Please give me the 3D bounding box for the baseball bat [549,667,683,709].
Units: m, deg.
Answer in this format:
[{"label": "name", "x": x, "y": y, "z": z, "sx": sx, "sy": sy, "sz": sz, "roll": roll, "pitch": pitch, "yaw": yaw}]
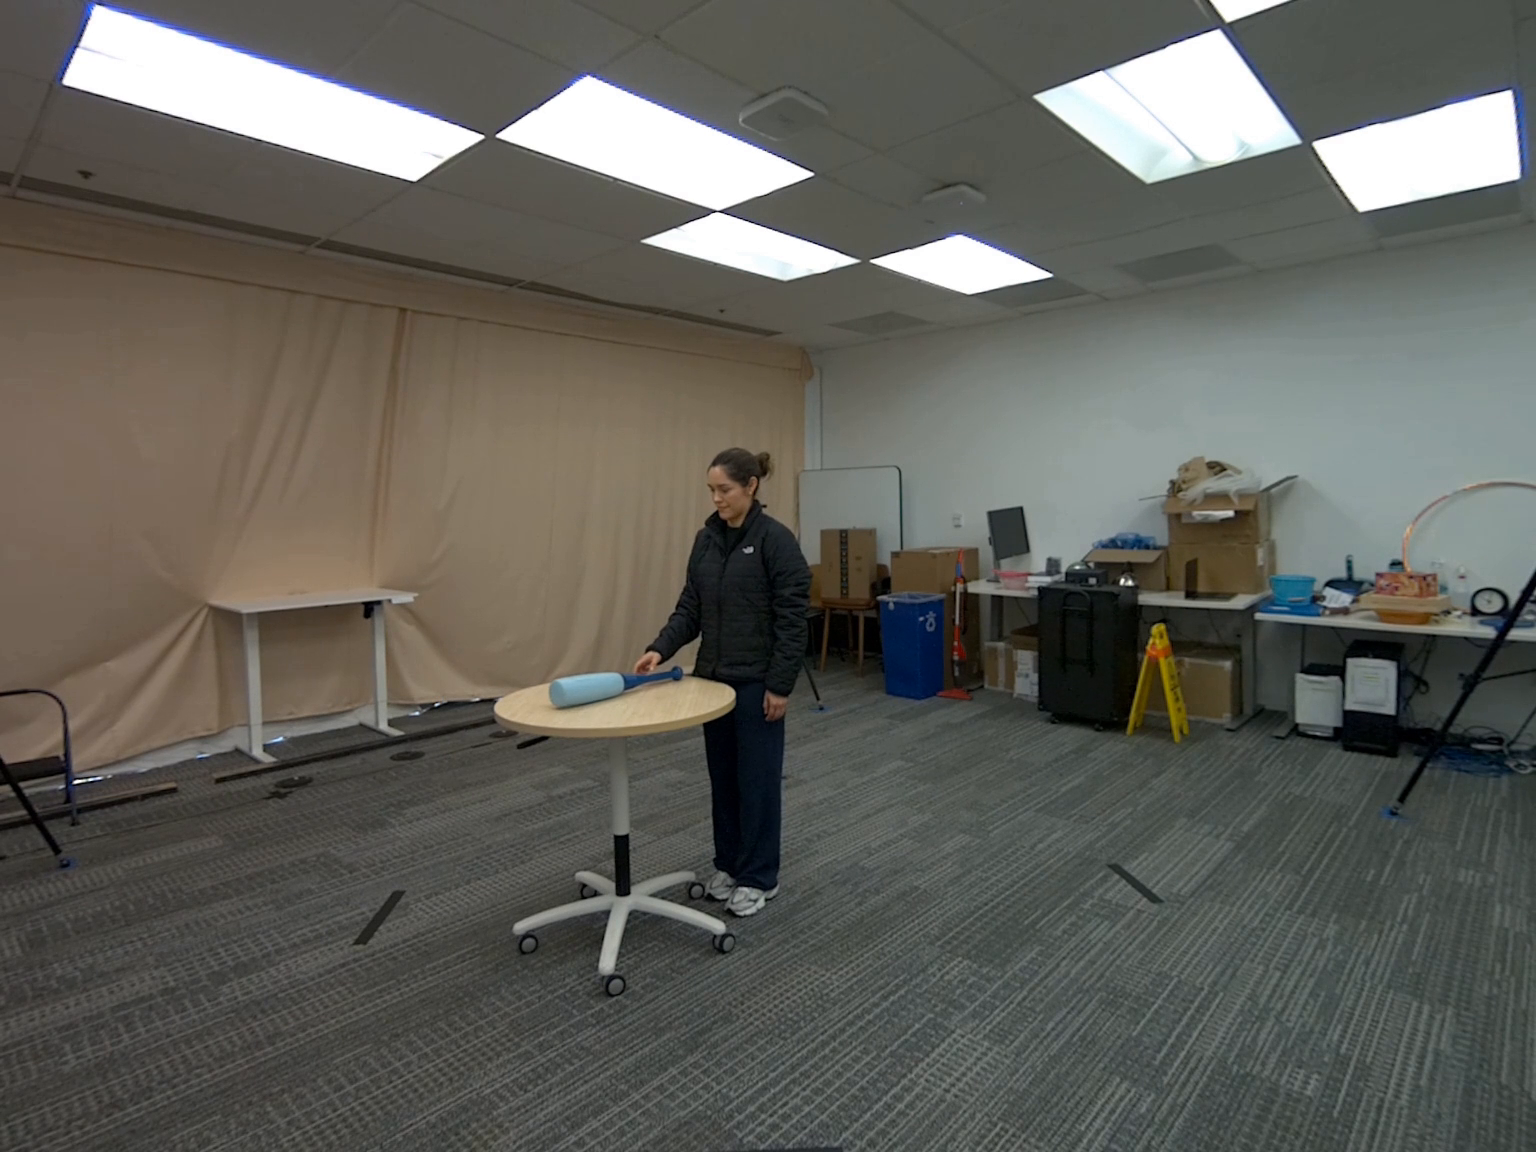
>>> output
[{"label": "baseball bat", "x": -0.466, "y": 0.352, "z": 2.745, "sx": 0.092, "sy": 0.089, "sz": 0.526, "roll": 3, "pitch": 3, "yaw": 41}]
